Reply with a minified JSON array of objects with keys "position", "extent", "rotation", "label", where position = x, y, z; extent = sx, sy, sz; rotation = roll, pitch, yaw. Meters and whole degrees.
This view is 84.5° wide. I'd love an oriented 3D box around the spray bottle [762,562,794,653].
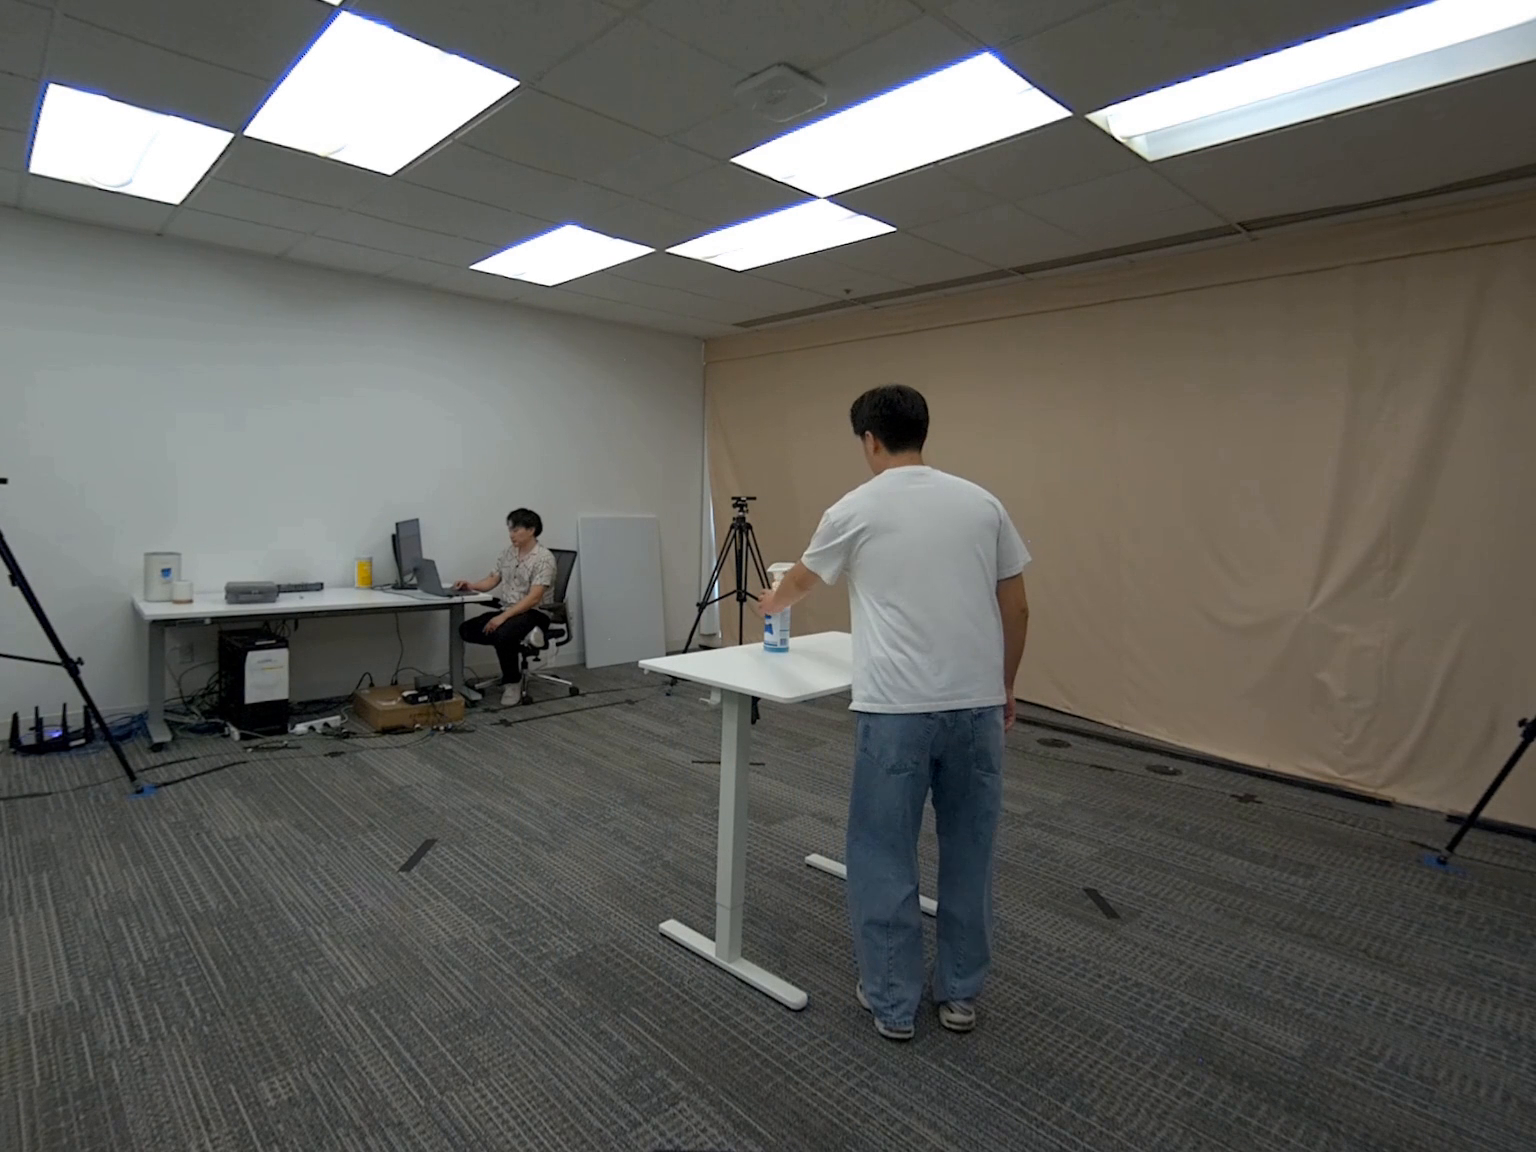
[{"position":[0.023,0.105,2.830],"extent":[0.092,0.296,0.085],"rotation":[6,7,29],"label":"spray bottle"}]
